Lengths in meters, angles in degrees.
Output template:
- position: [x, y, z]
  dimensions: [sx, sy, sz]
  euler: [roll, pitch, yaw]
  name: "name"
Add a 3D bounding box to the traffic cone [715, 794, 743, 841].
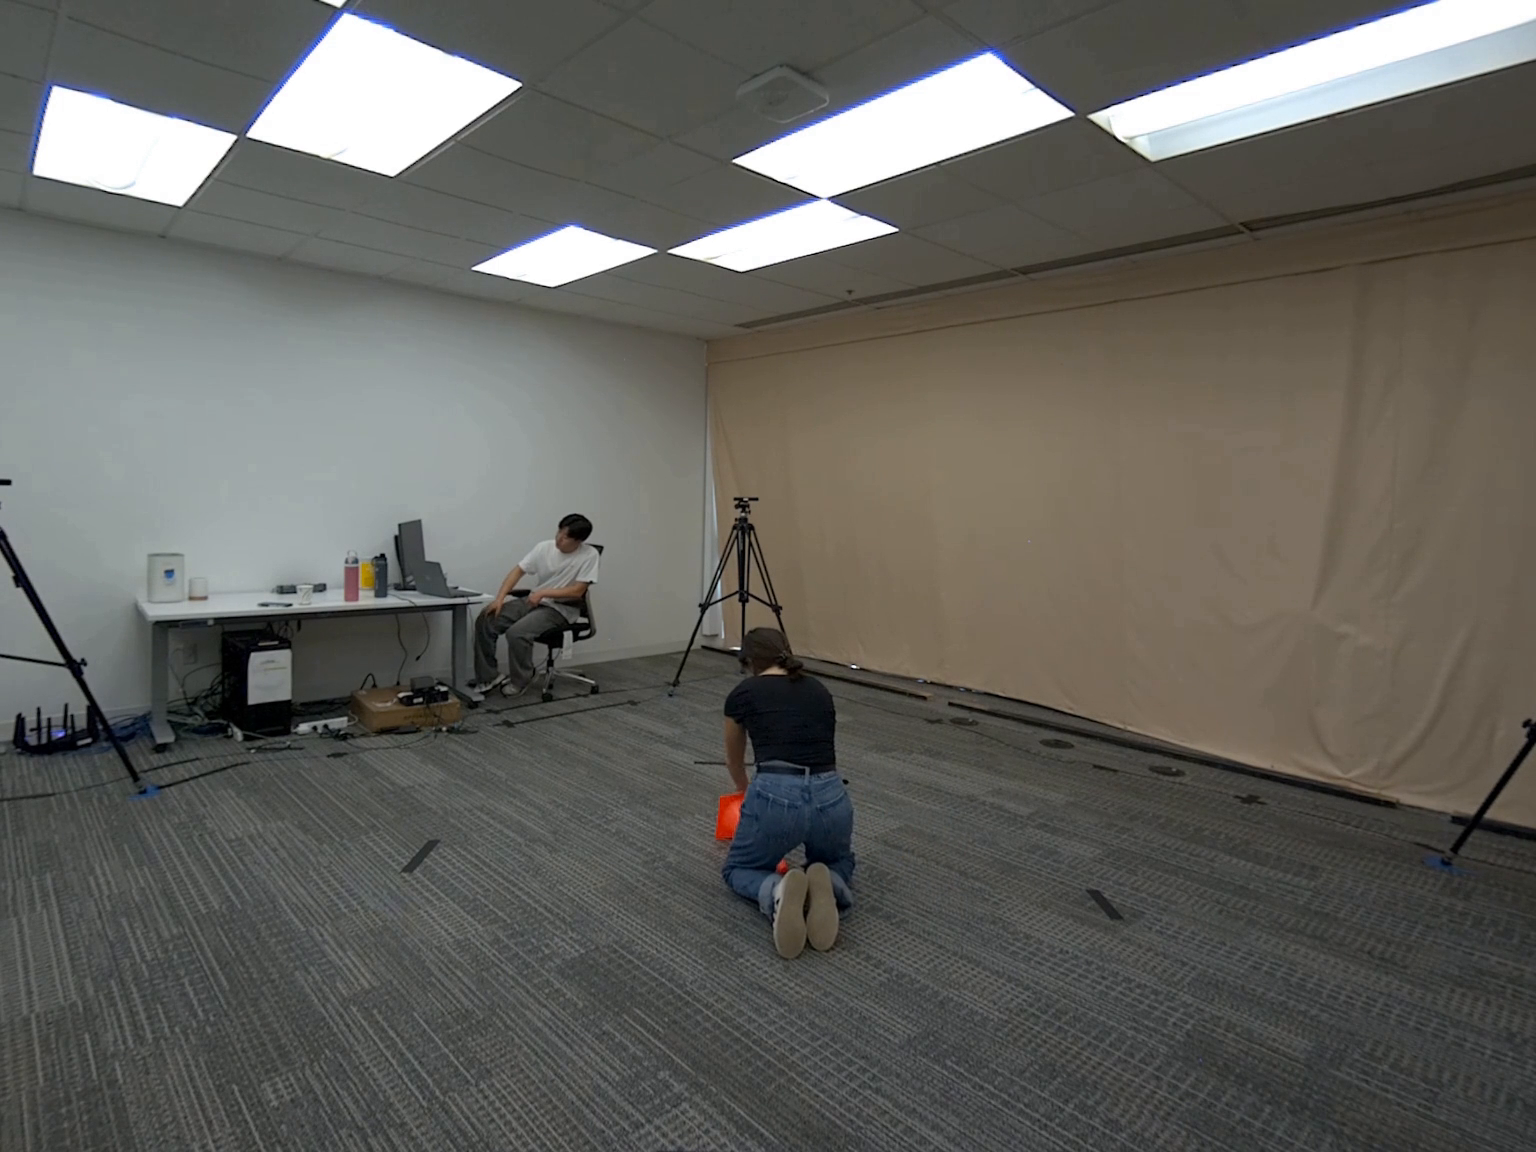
- position: [-0.037, 1.050, 3.288]
  dimensions: [0.201, 0.201, 0.395]
  euler: [1, 18, -28]
  name: "traffic cone"
